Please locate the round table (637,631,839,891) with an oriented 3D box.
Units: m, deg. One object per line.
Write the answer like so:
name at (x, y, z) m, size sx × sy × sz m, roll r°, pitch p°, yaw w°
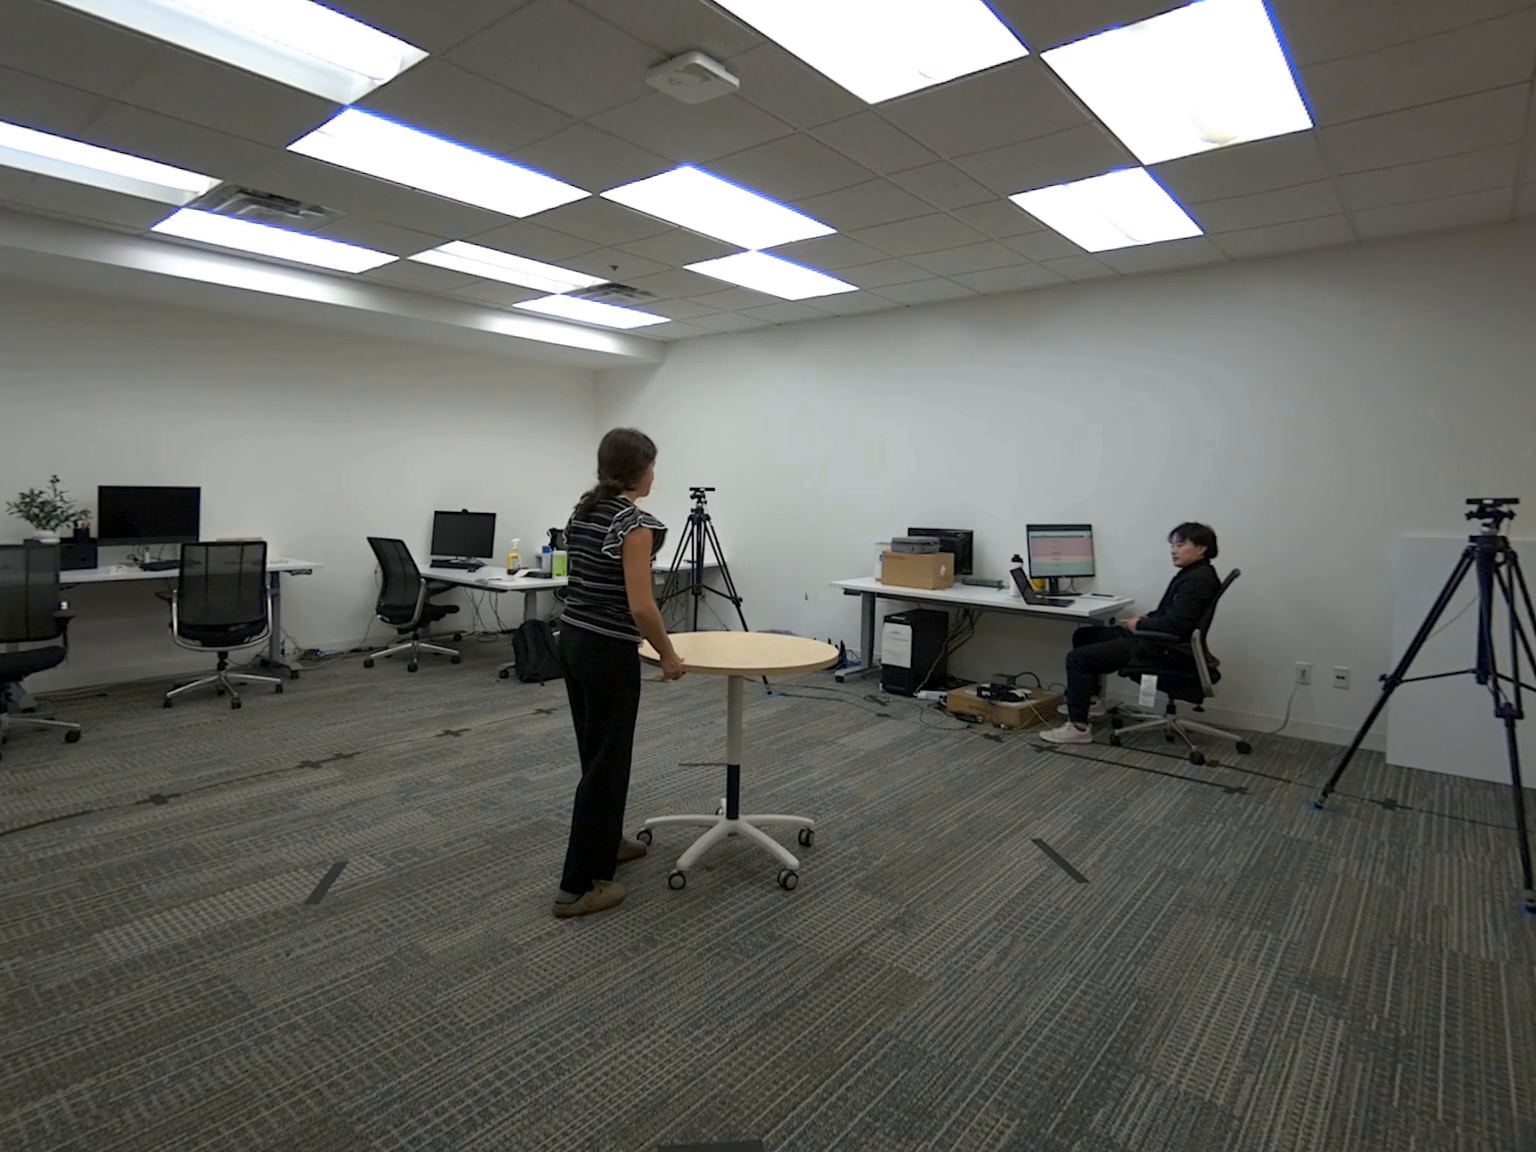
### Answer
round table at (-0.139, 0.663, 3.219) m, size 0.763 × 0.792 × 0.767 m, roll 1°, pitch 3°, yaw -2°
